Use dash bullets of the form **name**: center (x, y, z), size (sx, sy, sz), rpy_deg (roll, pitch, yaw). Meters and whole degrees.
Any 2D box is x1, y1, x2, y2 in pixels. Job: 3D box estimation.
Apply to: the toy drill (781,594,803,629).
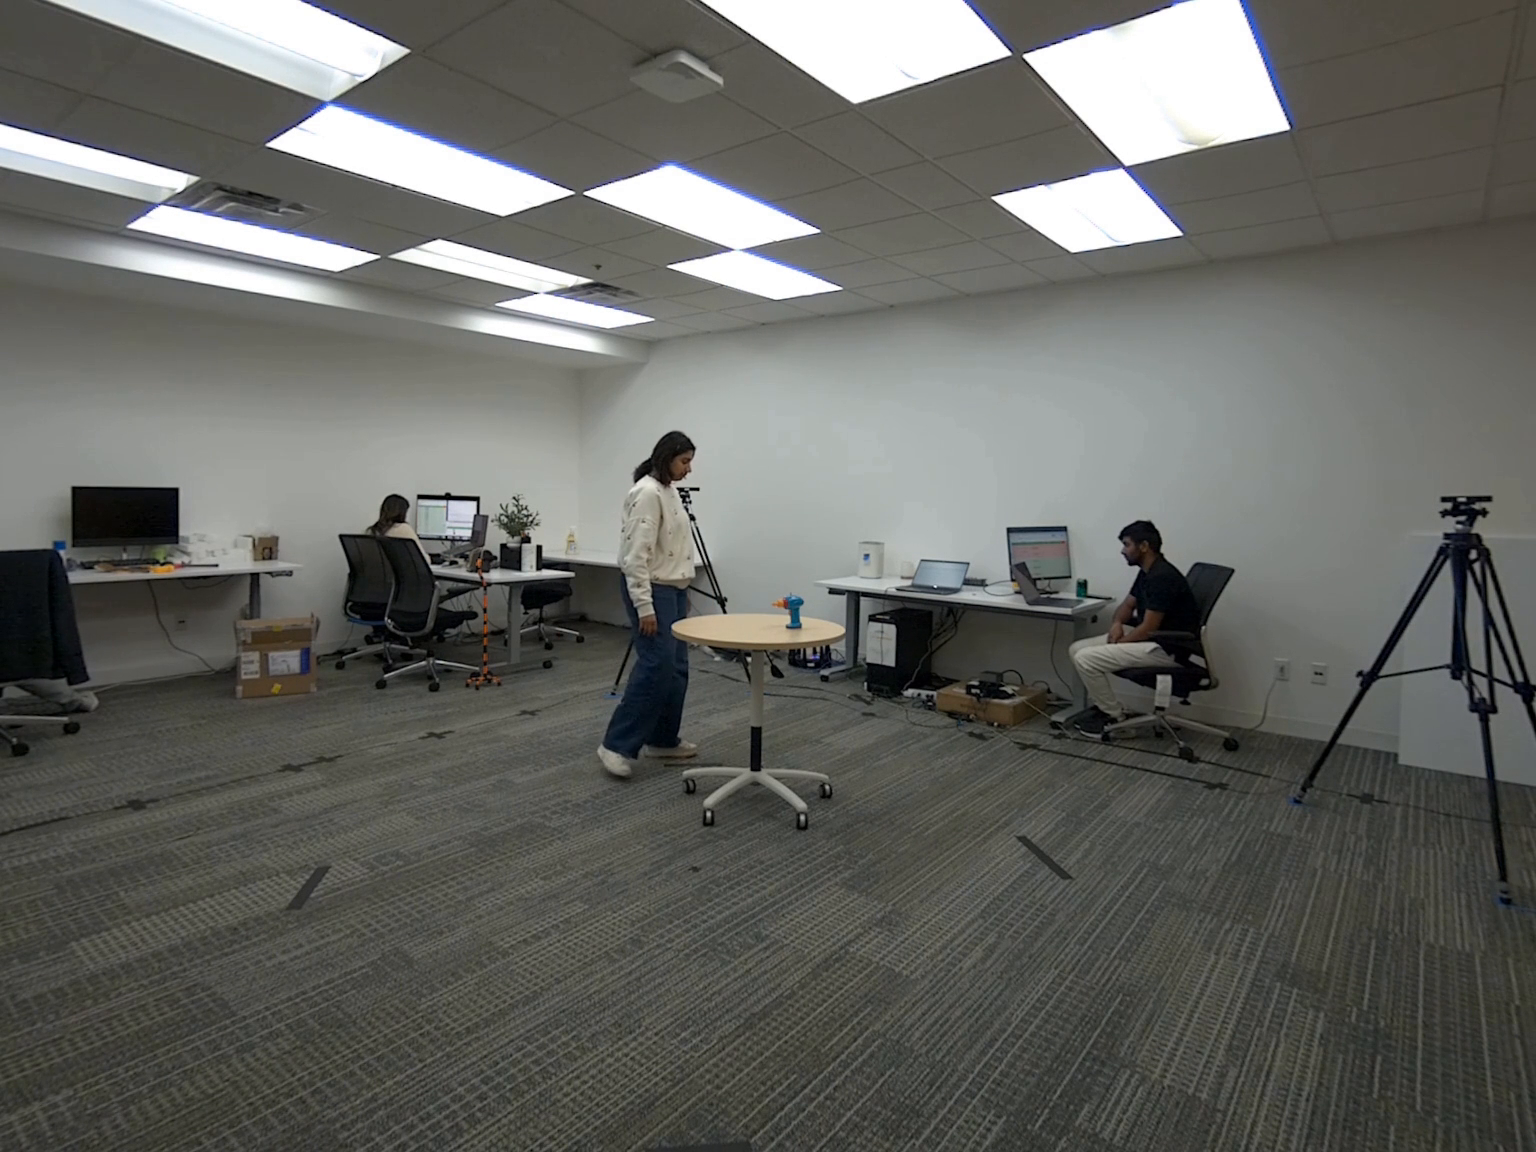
- **toy drill**: center (0.078, 0.154, 3.728), size (0.165, 0.145, 0.063), rpy_deg (-3, 7, -30)
